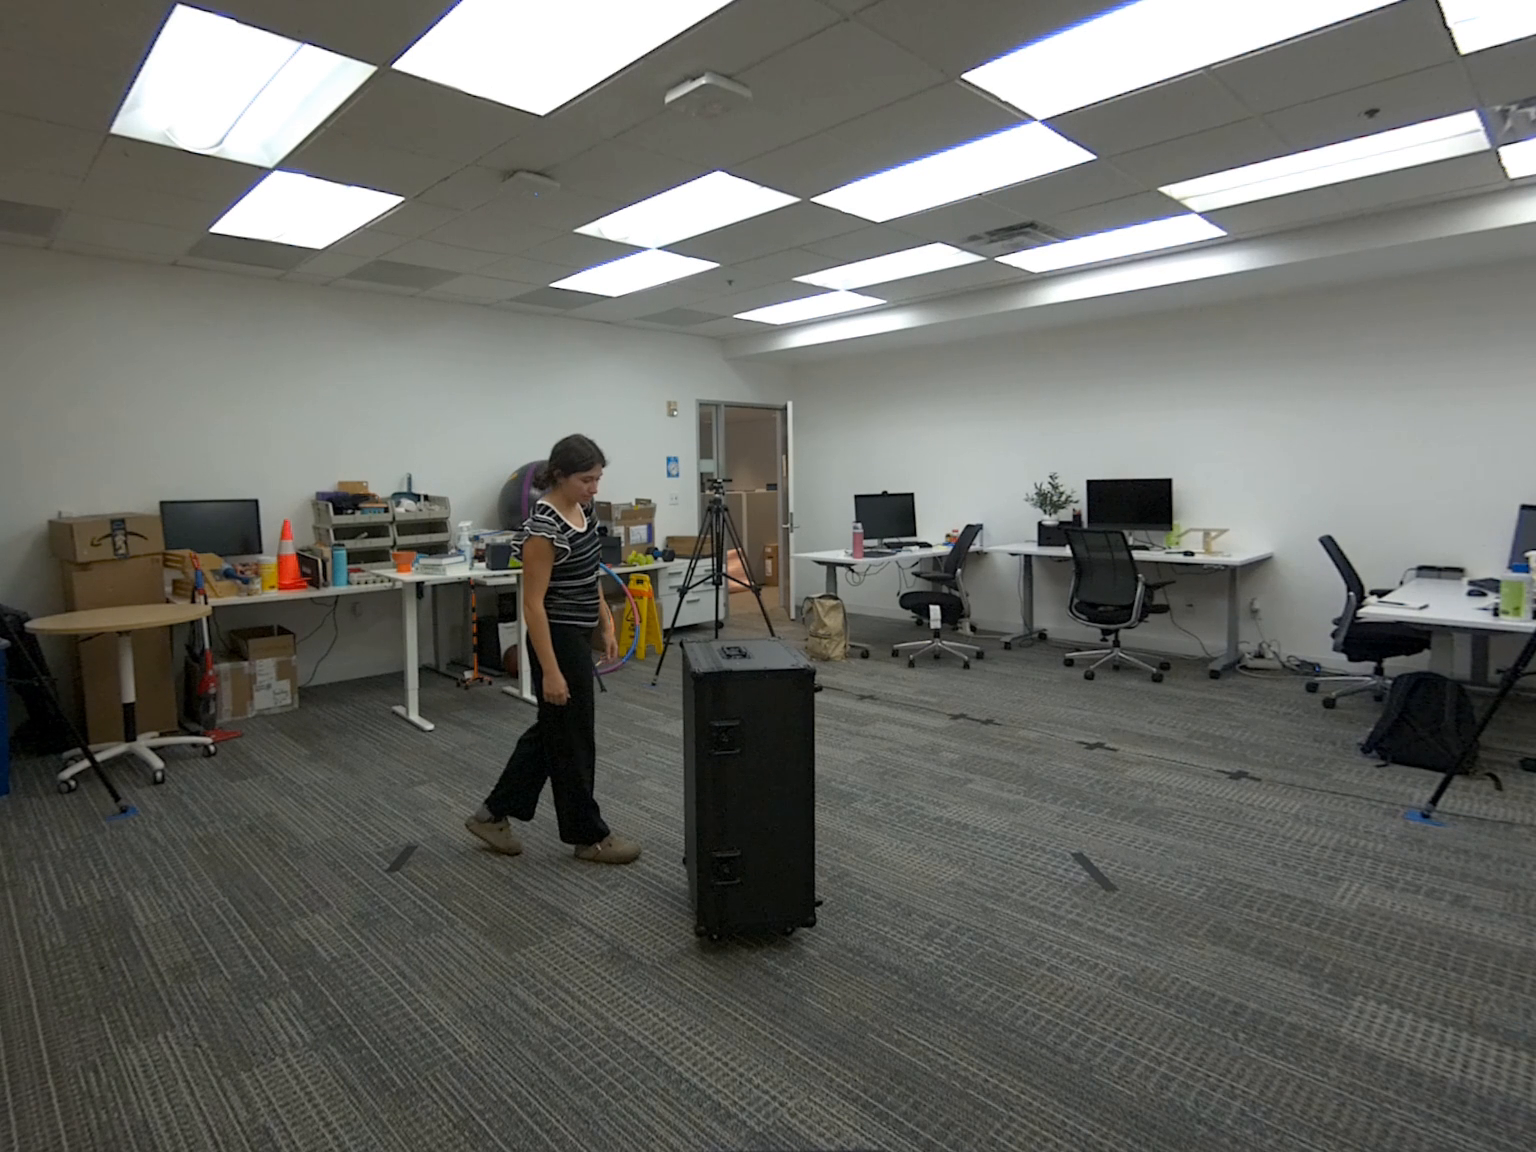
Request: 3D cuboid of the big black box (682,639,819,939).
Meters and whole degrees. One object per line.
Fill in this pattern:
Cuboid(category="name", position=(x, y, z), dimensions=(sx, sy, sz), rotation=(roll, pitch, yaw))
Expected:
Cuboid(category="big black box", position=(-0.065, 0.663, 2.723), dimensions=(0.393, 0.858, 0.527), rotation=(0, 4, -8))
